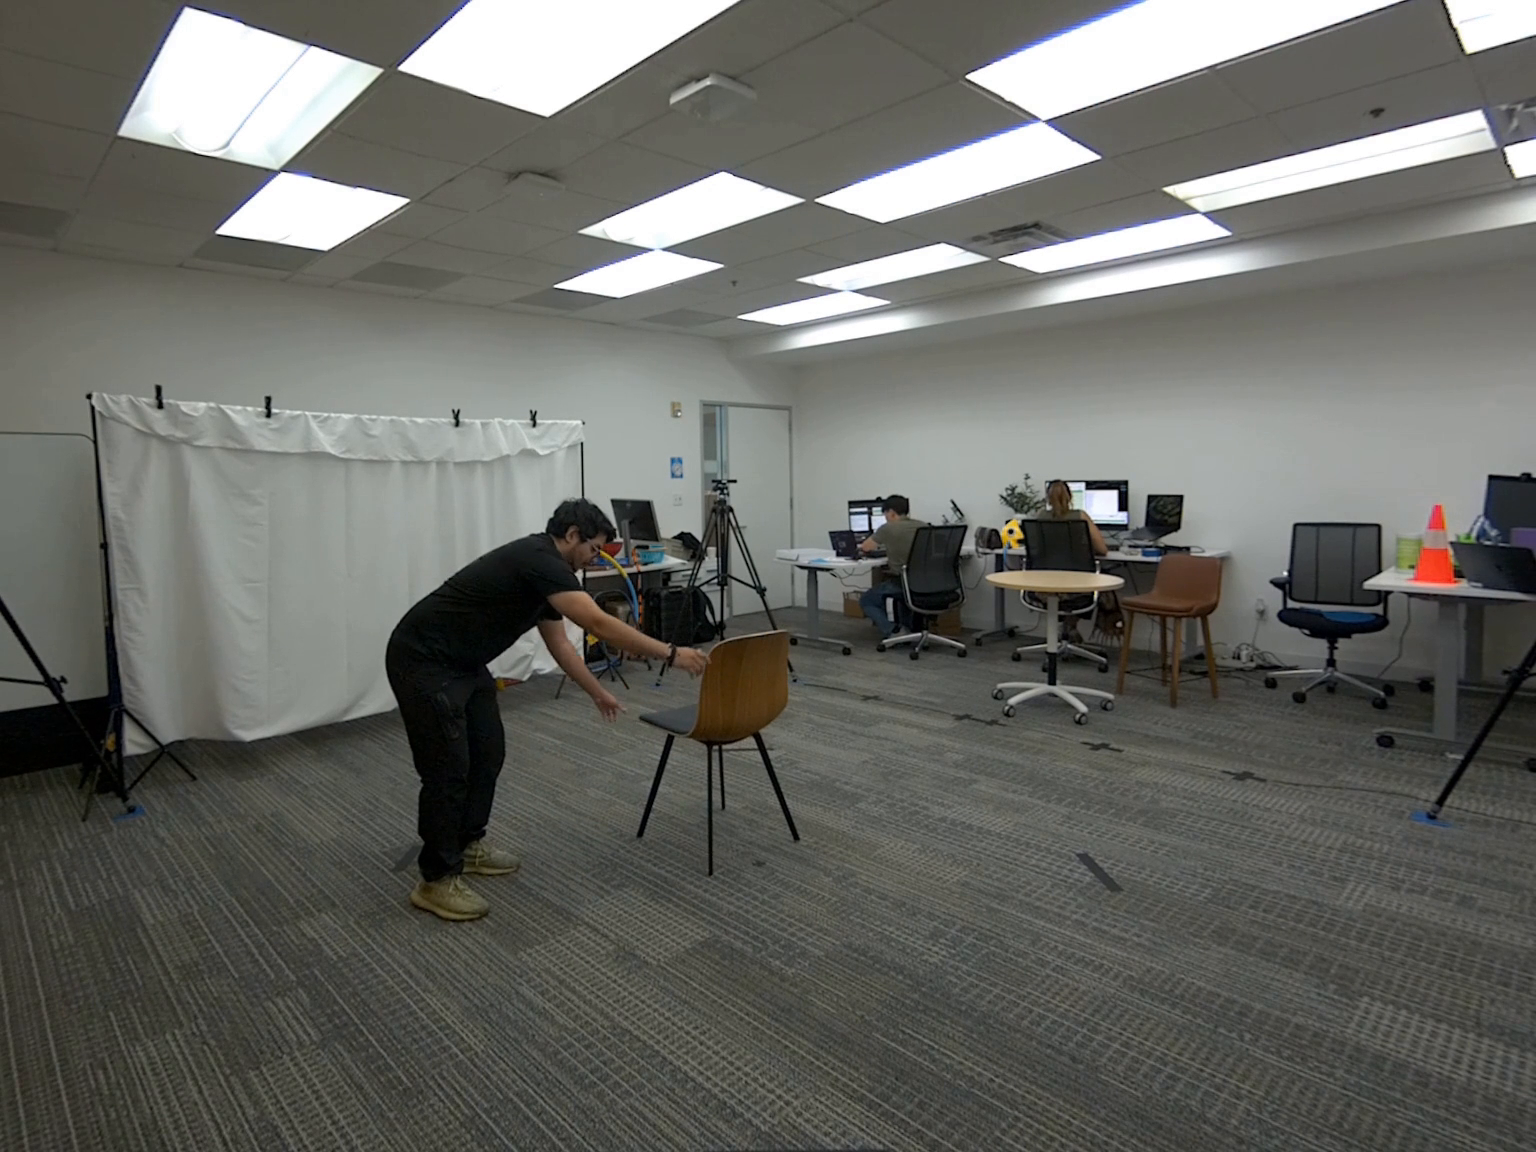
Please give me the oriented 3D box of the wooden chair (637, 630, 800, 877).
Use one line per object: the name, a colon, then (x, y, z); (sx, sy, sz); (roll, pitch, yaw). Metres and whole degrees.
wooden chair: (-0.212, 0.600, 3.310); (0.465, 0.872, 0.541); (-4, 10, -41)
